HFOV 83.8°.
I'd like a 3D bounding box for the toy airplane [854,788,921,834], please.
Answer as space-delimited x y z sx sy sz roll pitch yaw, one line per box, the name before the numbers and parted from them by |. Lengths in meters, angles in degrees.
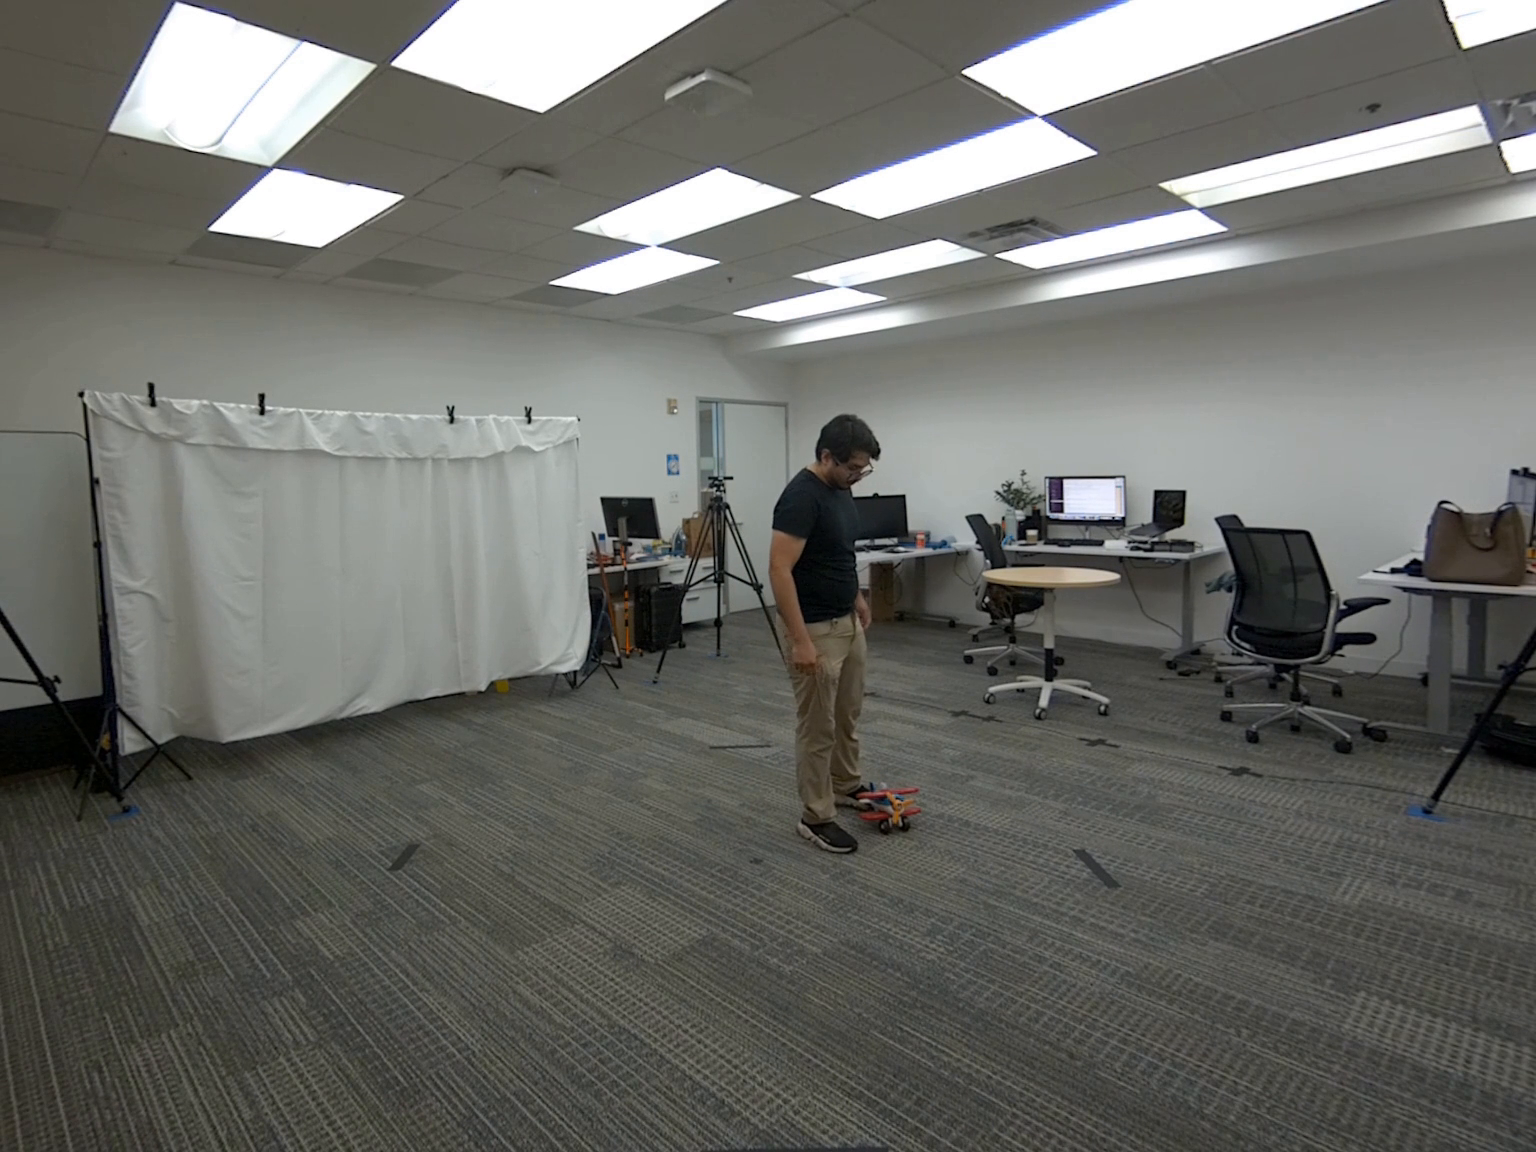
toy airplane | 0.460 0.921 3.406 0.244 0.156 0.267 -6 8 -44
